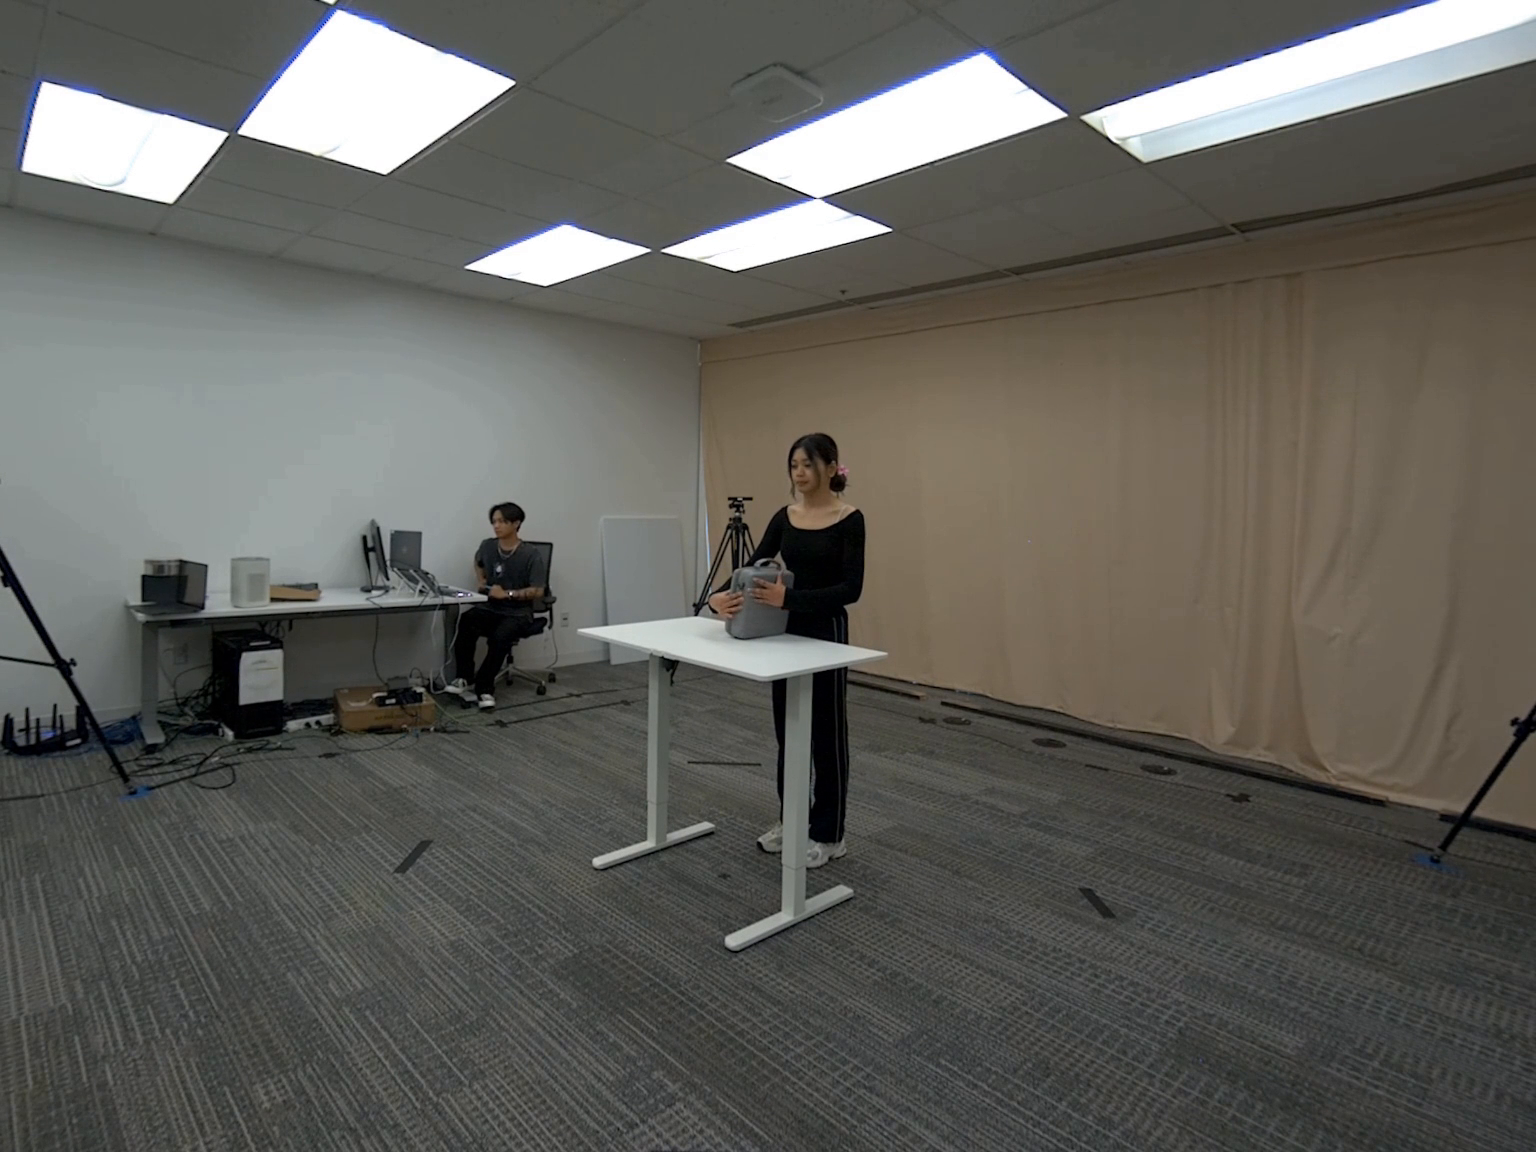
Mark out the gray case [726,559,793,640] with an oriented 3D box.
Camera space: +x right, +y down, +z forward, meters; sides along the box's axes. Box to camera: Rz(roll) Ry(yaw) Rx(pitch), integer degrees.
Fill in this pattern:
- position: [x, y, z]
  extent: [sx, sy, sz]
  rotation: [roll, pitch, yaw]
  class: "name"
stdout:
- position: [-0.033, 0.096, 3.114]
  extent: [0.107, 0.259, 0.251]
  rotation: [16, 12, 41]
  class: "gray case"
